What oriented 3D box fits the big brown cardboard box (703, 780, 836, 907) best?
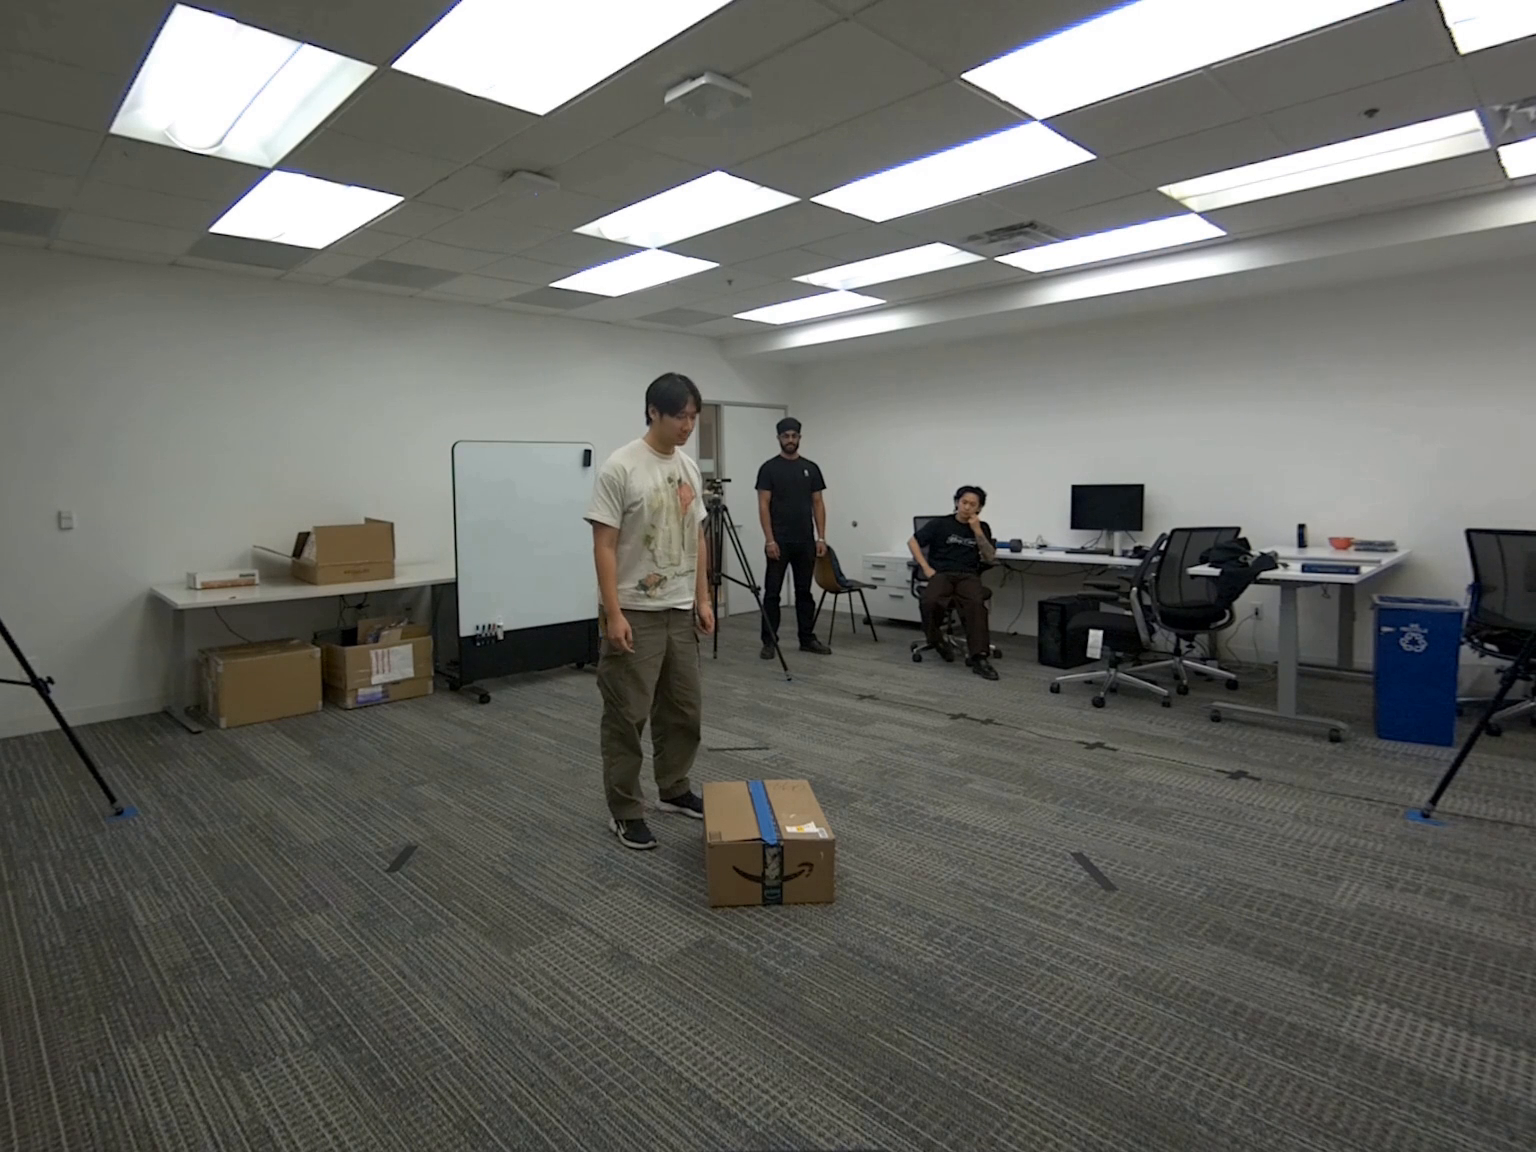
[{"bbox_3d":[-0.015,0.936,3.059,0.416,0.232,0.593,-1,5,-5],"label":"big brown cardboard box"}]
